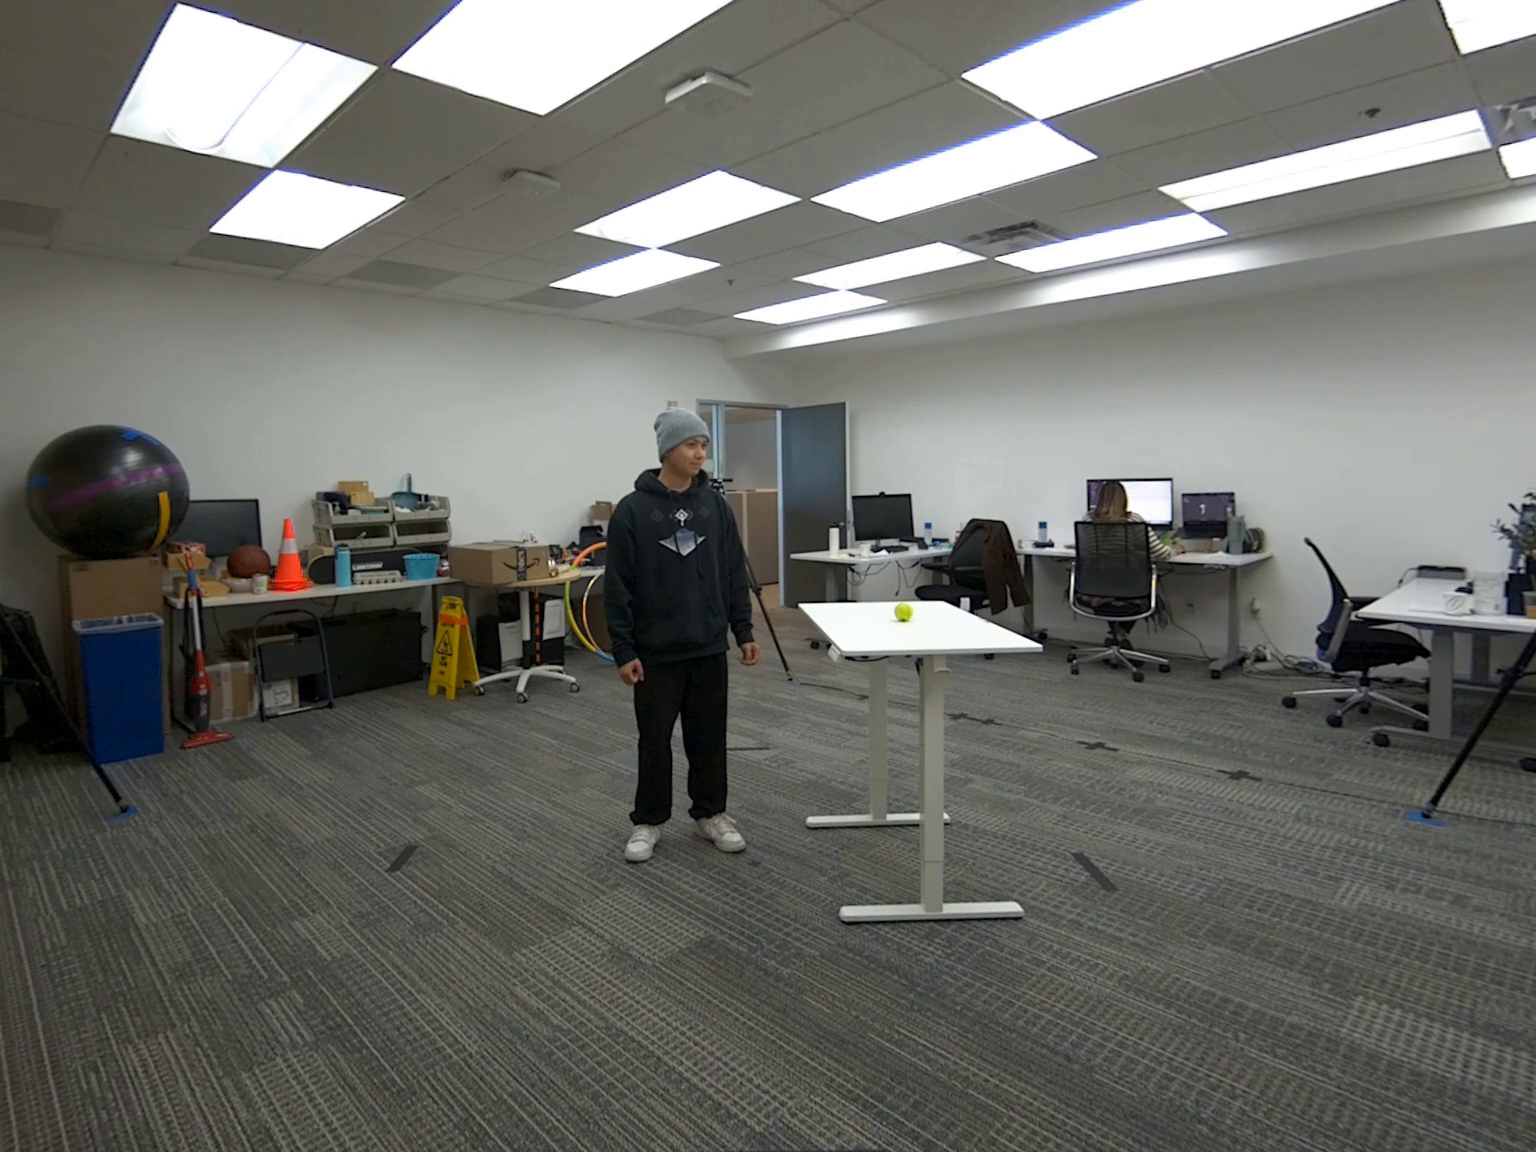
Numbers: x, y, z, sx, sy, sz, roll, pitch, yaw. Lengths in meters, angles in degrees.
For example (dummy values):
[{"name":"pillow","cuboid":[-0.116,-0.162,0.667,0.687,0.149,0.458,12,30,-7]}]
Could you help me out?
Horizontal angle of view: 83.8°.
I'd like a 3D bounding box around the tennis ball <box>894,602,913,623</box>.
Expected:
[{"name":"tennis ball","cuboid":[0.470,0.129,3.046,0.066,0.066,0.067,-1,5,-2]}]
